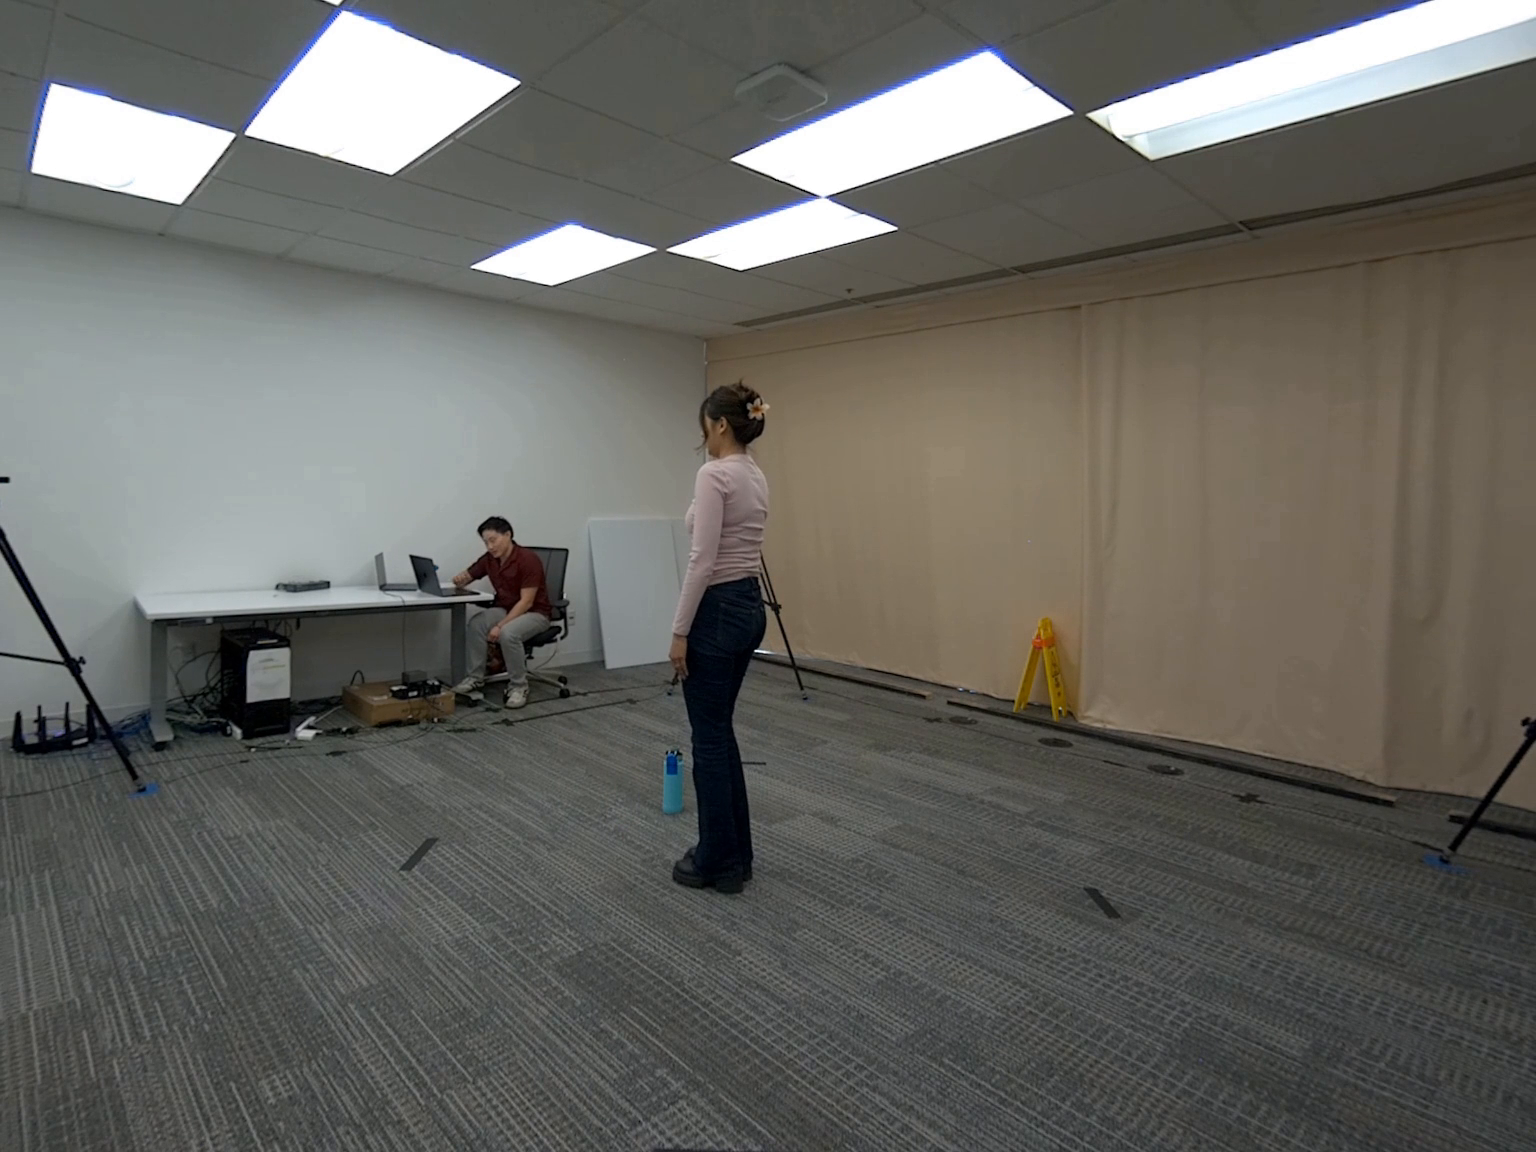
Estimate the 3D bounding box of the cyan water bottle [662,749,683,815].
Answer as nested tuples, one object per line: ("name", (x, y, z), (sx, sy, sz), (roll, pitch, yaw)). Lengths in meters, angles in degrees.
("cyan water bottle", (-0.428, 0.899, 3.723), (0.092, 0.282, 0.093), (3, 5, -2))
